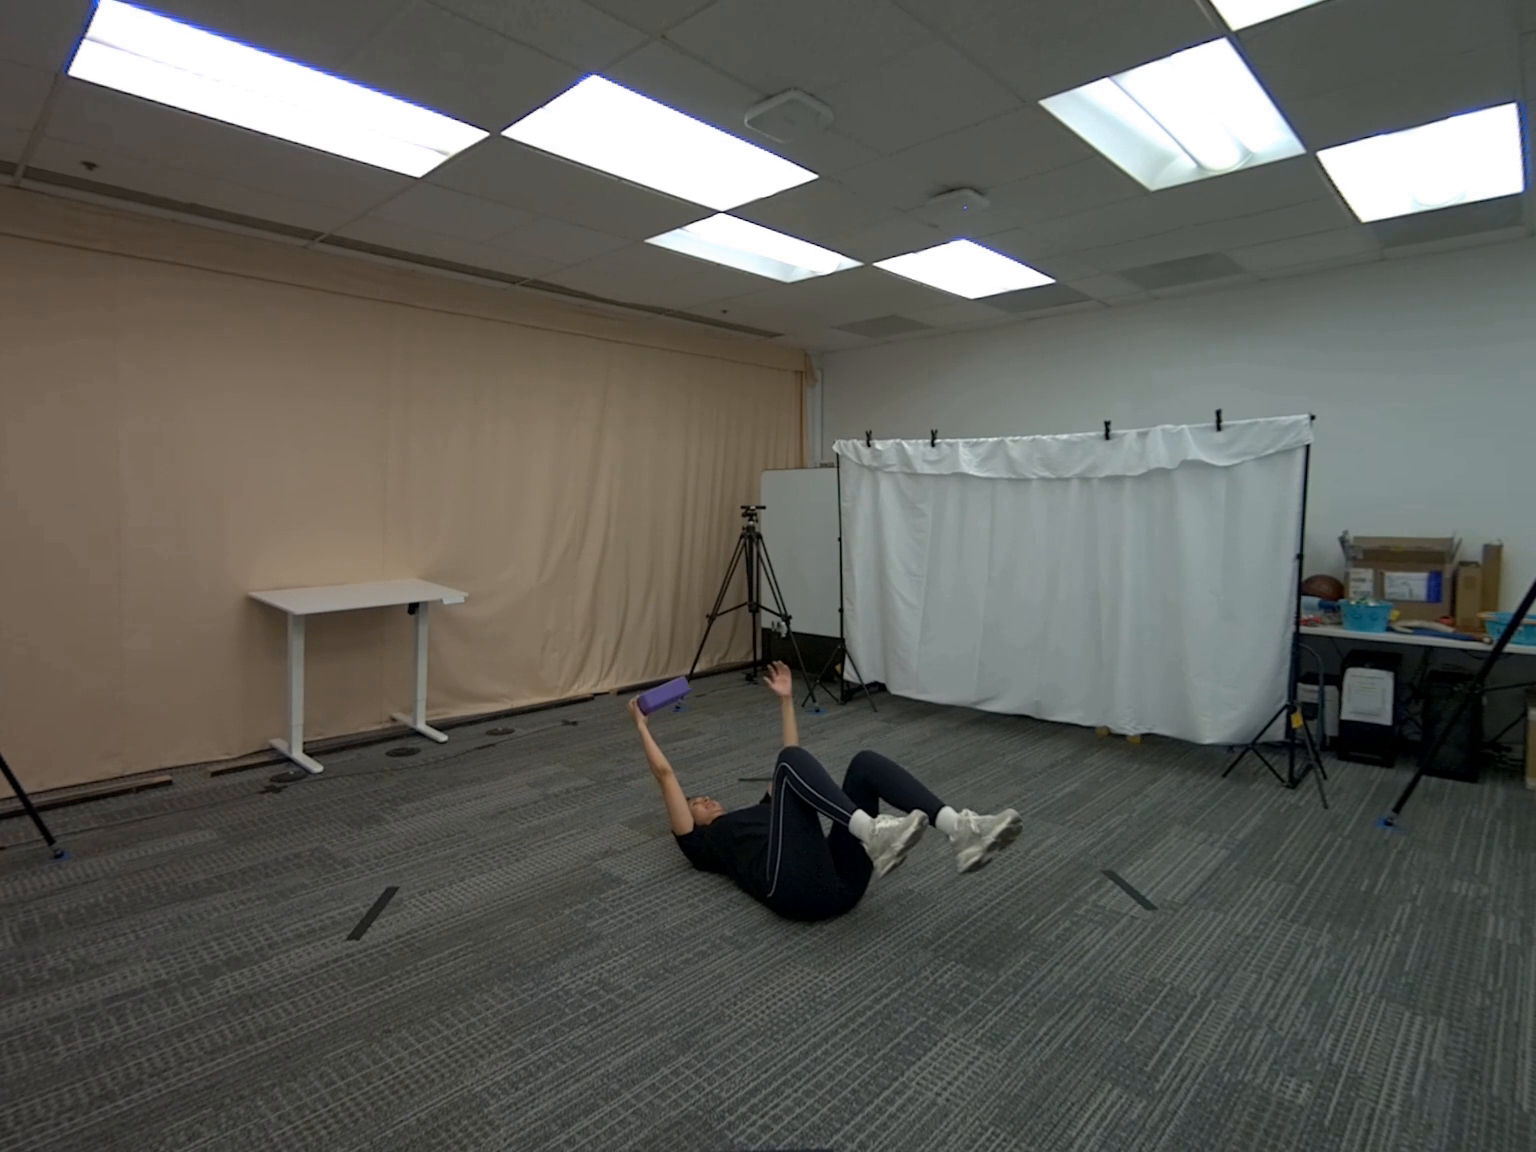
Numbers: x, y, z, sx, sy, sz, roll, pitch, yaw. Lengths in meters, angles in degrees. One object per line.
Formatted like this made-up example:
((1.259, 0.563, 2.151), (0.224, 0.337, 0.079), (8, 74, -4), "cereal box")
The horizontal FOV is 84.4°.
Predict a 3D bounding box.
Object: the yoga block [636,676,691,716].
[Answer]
((-0.460, 0.522, 3.636), (0.224, 0.077, 0.151), (-20, -12, -38), "yoga block")
